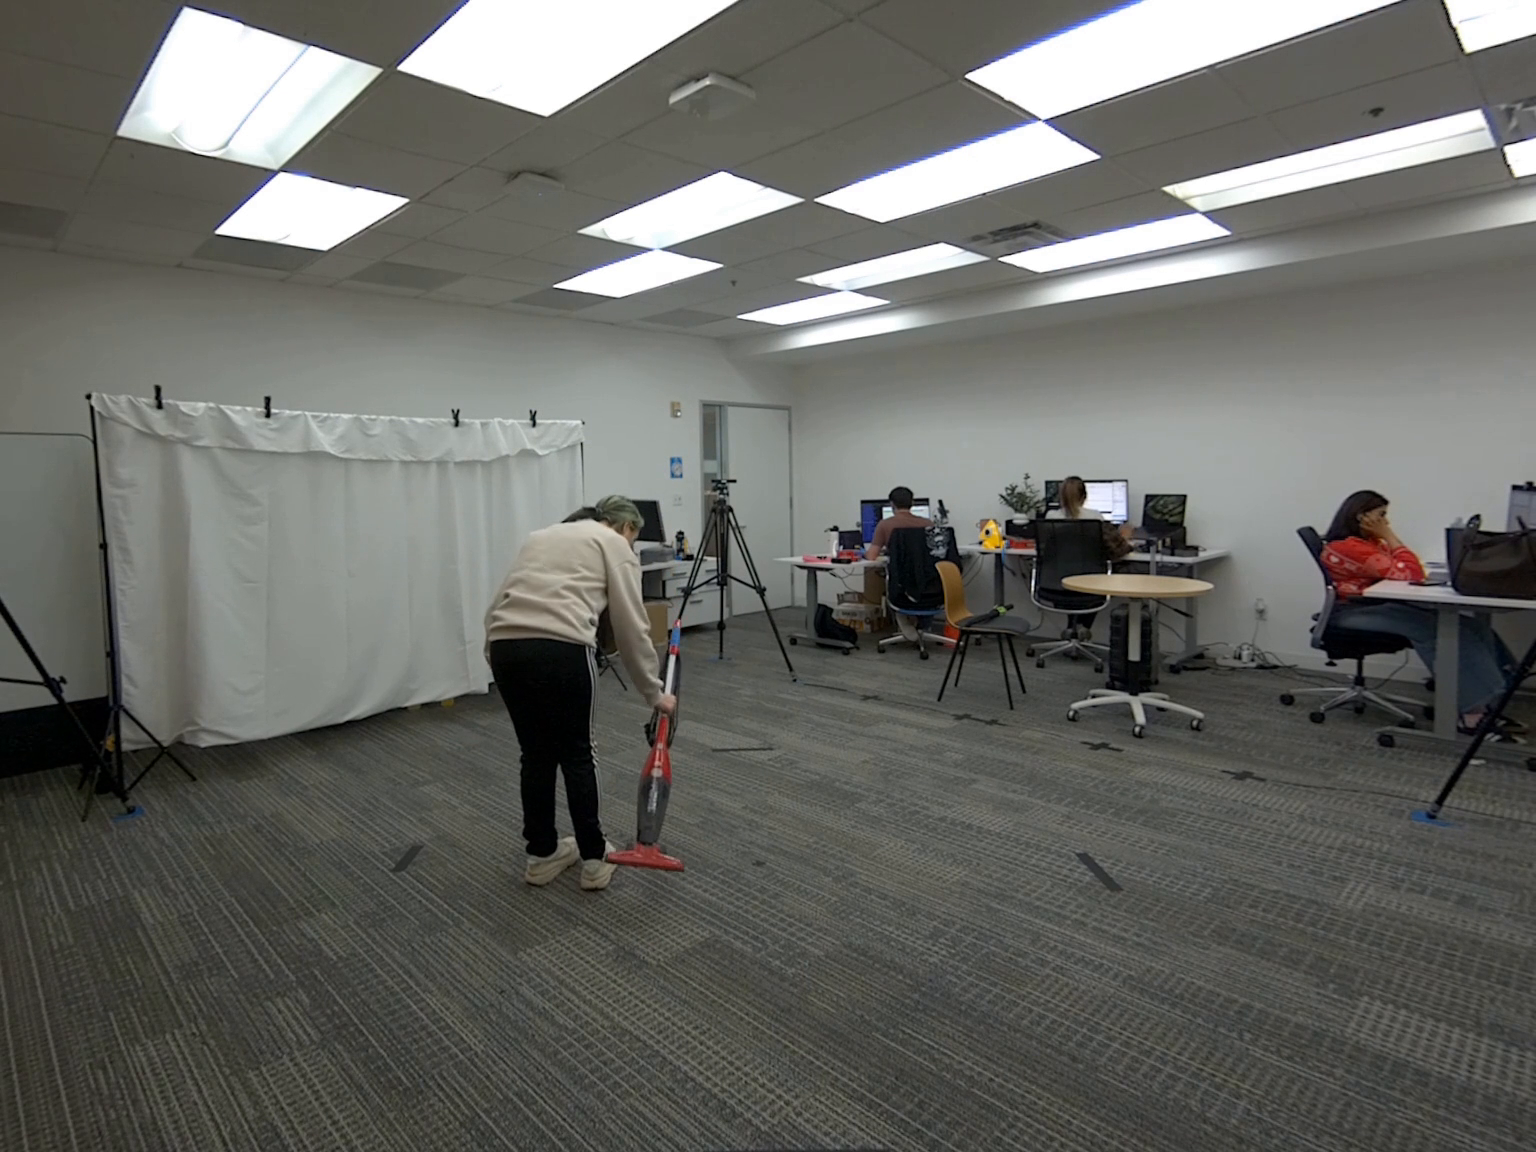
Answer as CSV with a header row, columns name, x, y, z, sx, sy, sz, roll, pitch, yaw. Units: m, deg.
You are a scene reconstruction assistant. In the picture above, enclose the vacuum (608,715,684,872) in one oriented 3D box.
name,x,y,z,sx,sy,sz,roll,pitch,yaw
vacuum,-0.381,0.549,3.121,0.251,0.141,1.076,8,43,-6
